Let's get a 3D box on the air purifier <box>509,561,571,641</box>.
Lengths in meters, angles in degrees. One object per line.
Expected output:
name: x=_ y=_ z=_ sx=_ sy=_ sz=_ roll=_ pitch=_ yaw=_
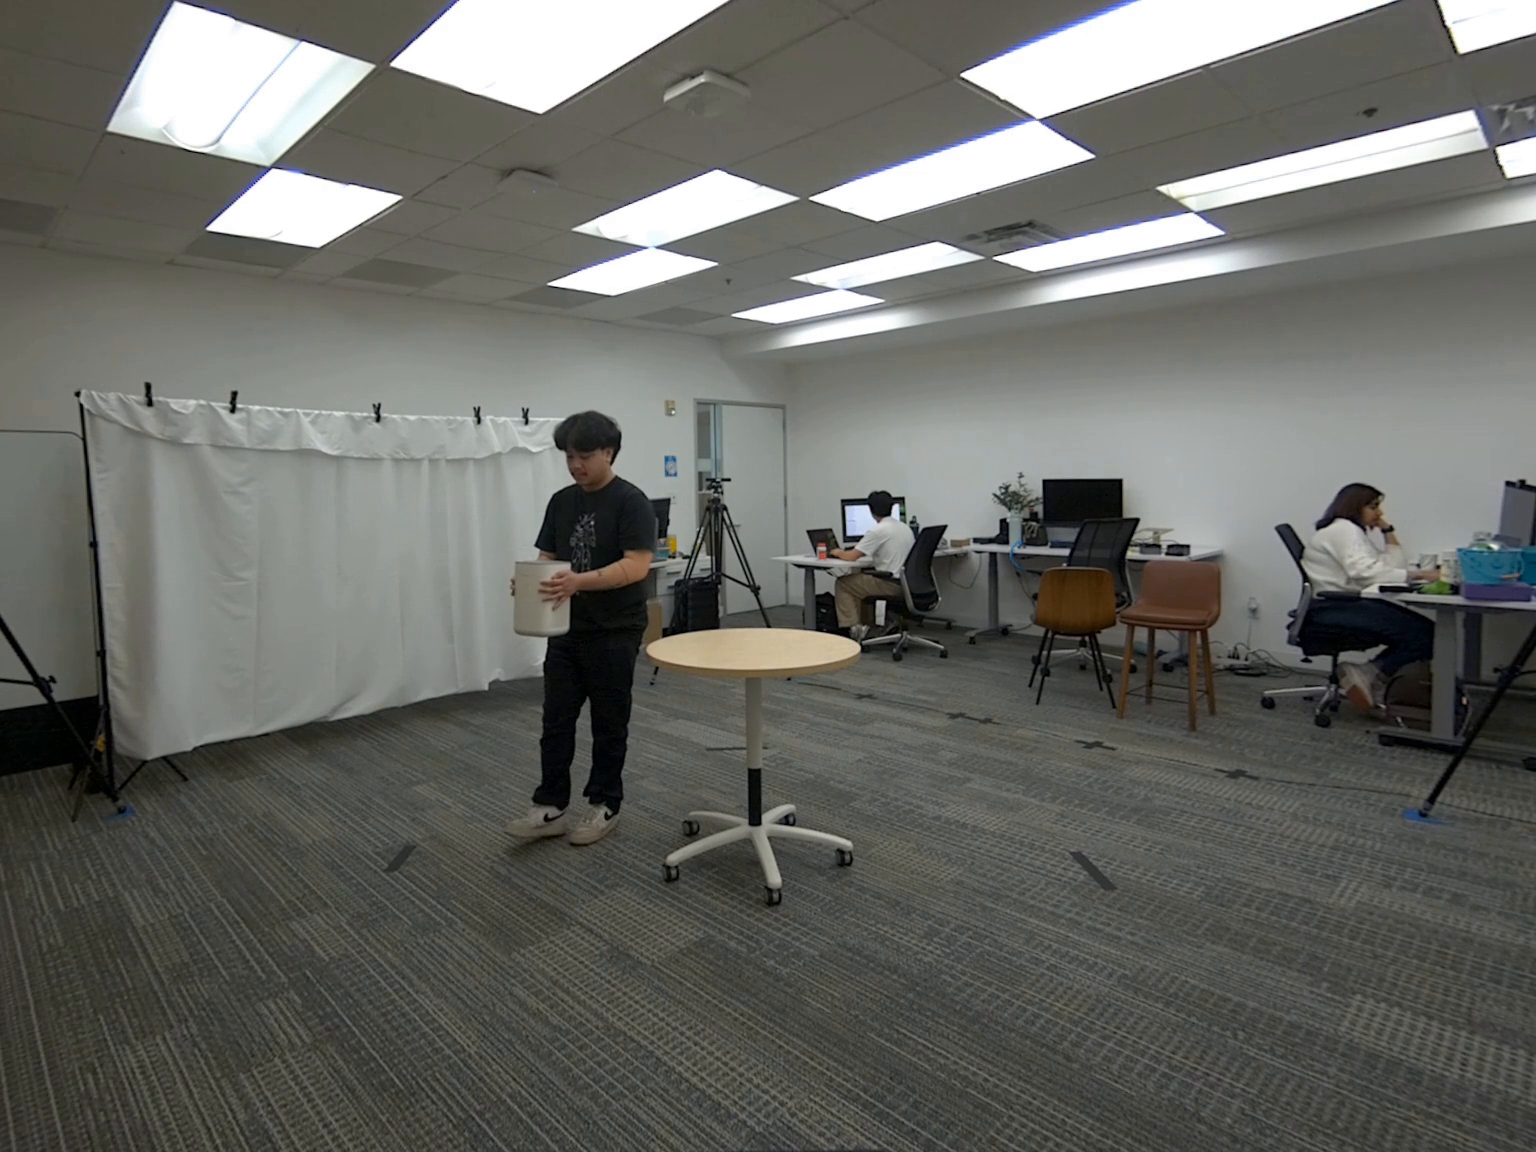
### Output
air purifier: x=-0.805 y=0.083 z=3.087 sx=0.175 sy=0.265 sz=0.167 roll=2 pitch=2 yaw=27
